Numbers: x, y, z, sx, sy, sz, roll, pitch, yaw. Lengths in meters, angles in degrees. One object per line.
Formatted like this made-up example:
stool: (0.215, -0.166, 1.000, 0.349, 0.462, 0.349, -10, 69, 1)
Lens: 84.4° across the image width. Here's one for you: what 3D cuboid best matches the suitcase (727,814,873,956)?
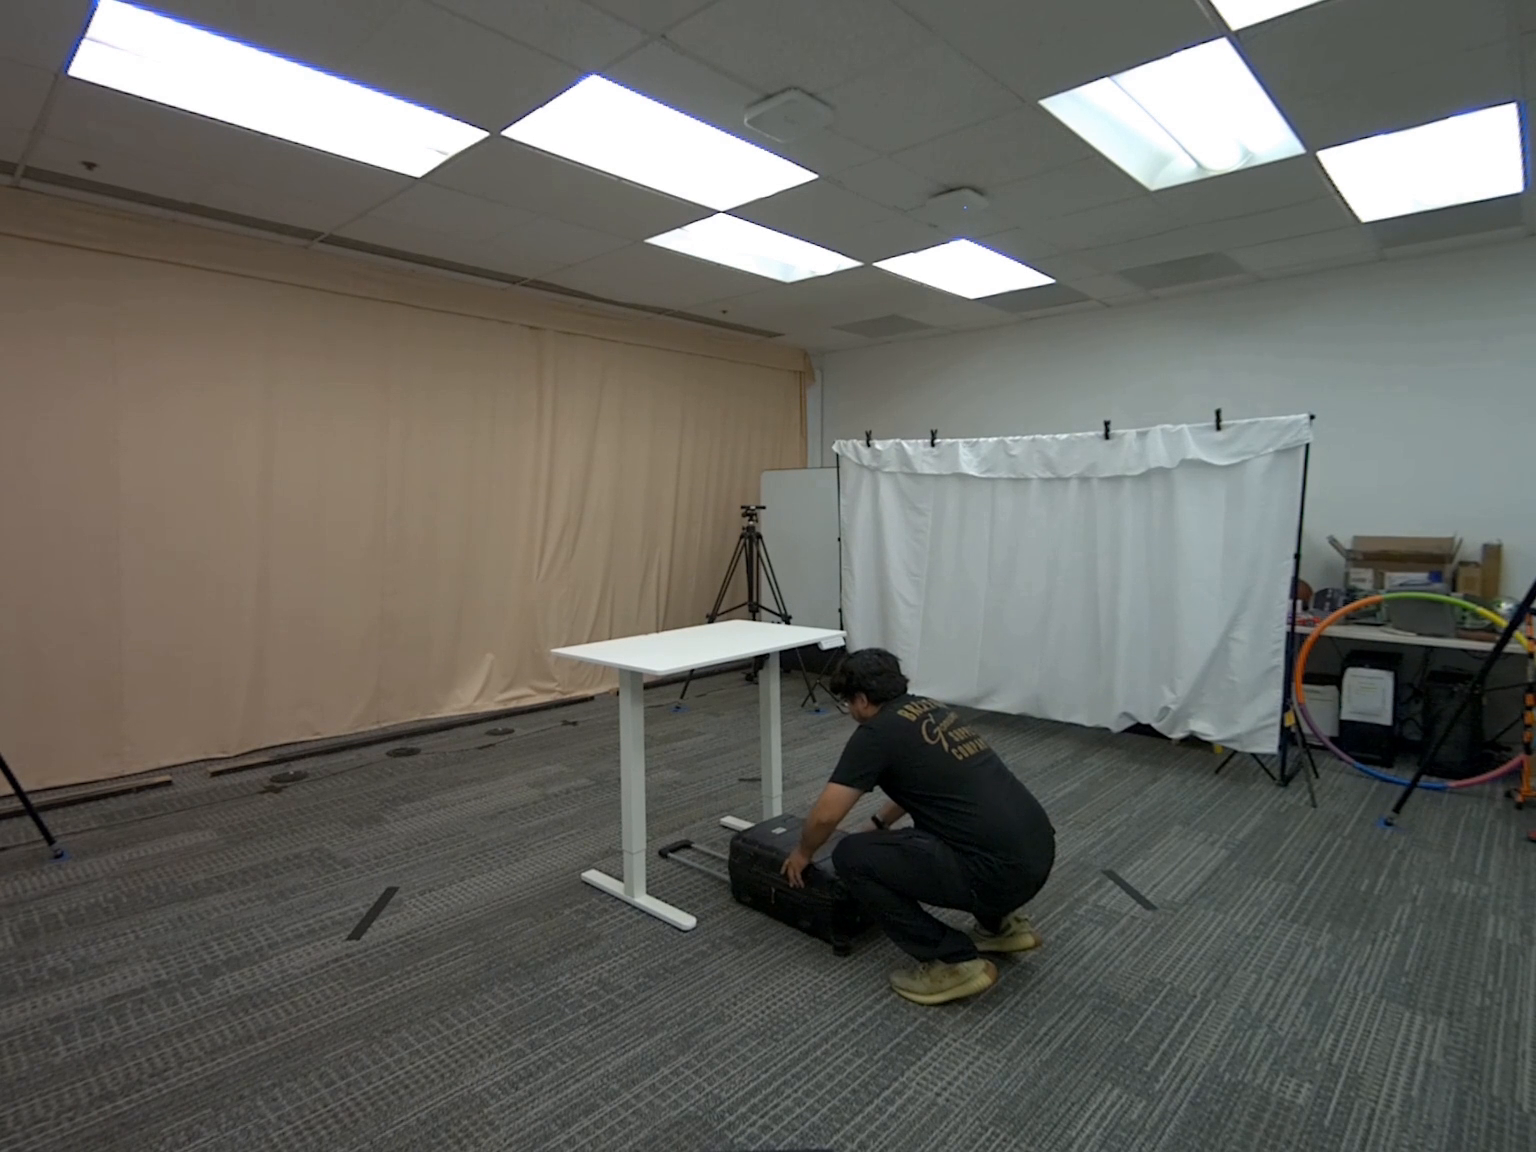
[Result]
suitcase: (-0.009, 1.013, 3.056, 1.012, 0.256, 0.372, 5, 8, 42)
